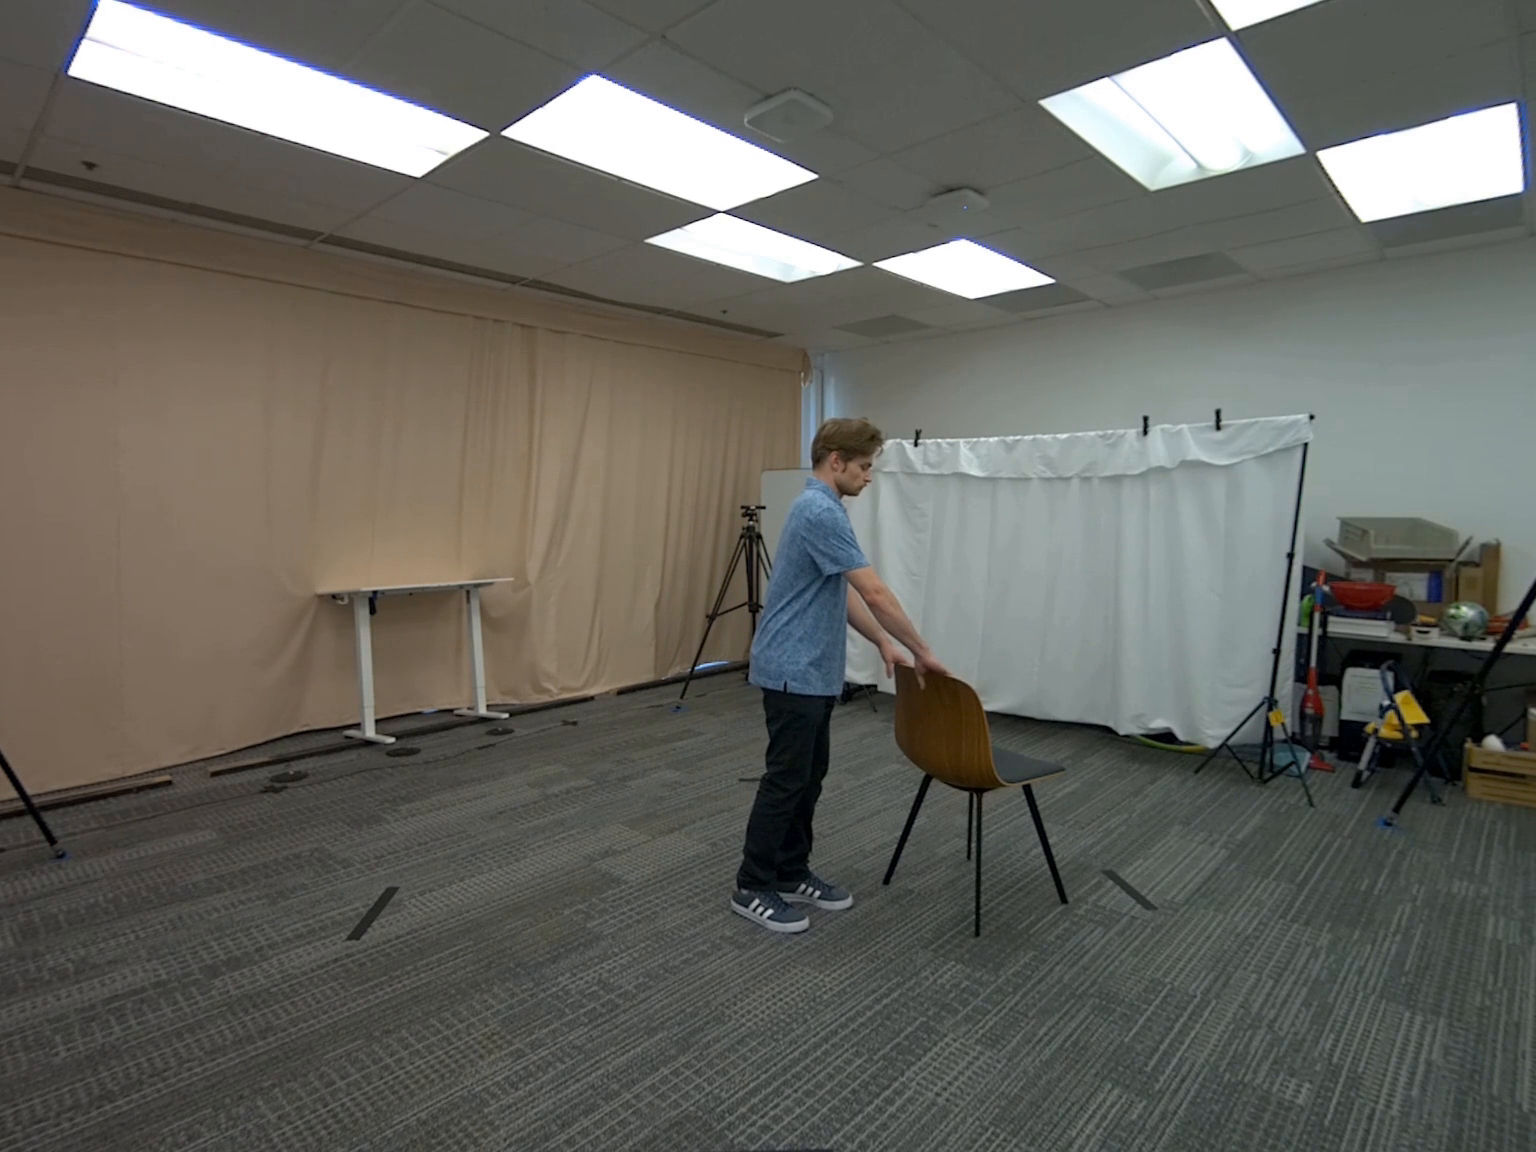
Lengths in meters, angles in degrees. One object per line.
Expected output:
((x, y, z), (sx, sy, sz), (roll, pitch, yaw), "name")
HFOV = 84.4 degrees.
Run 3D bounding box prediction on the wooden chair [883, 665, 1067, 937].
((0.747, 0.712, 2.988), (0.509, 0.874, 0.493), (-7, 6, -33), "wooden chair")
